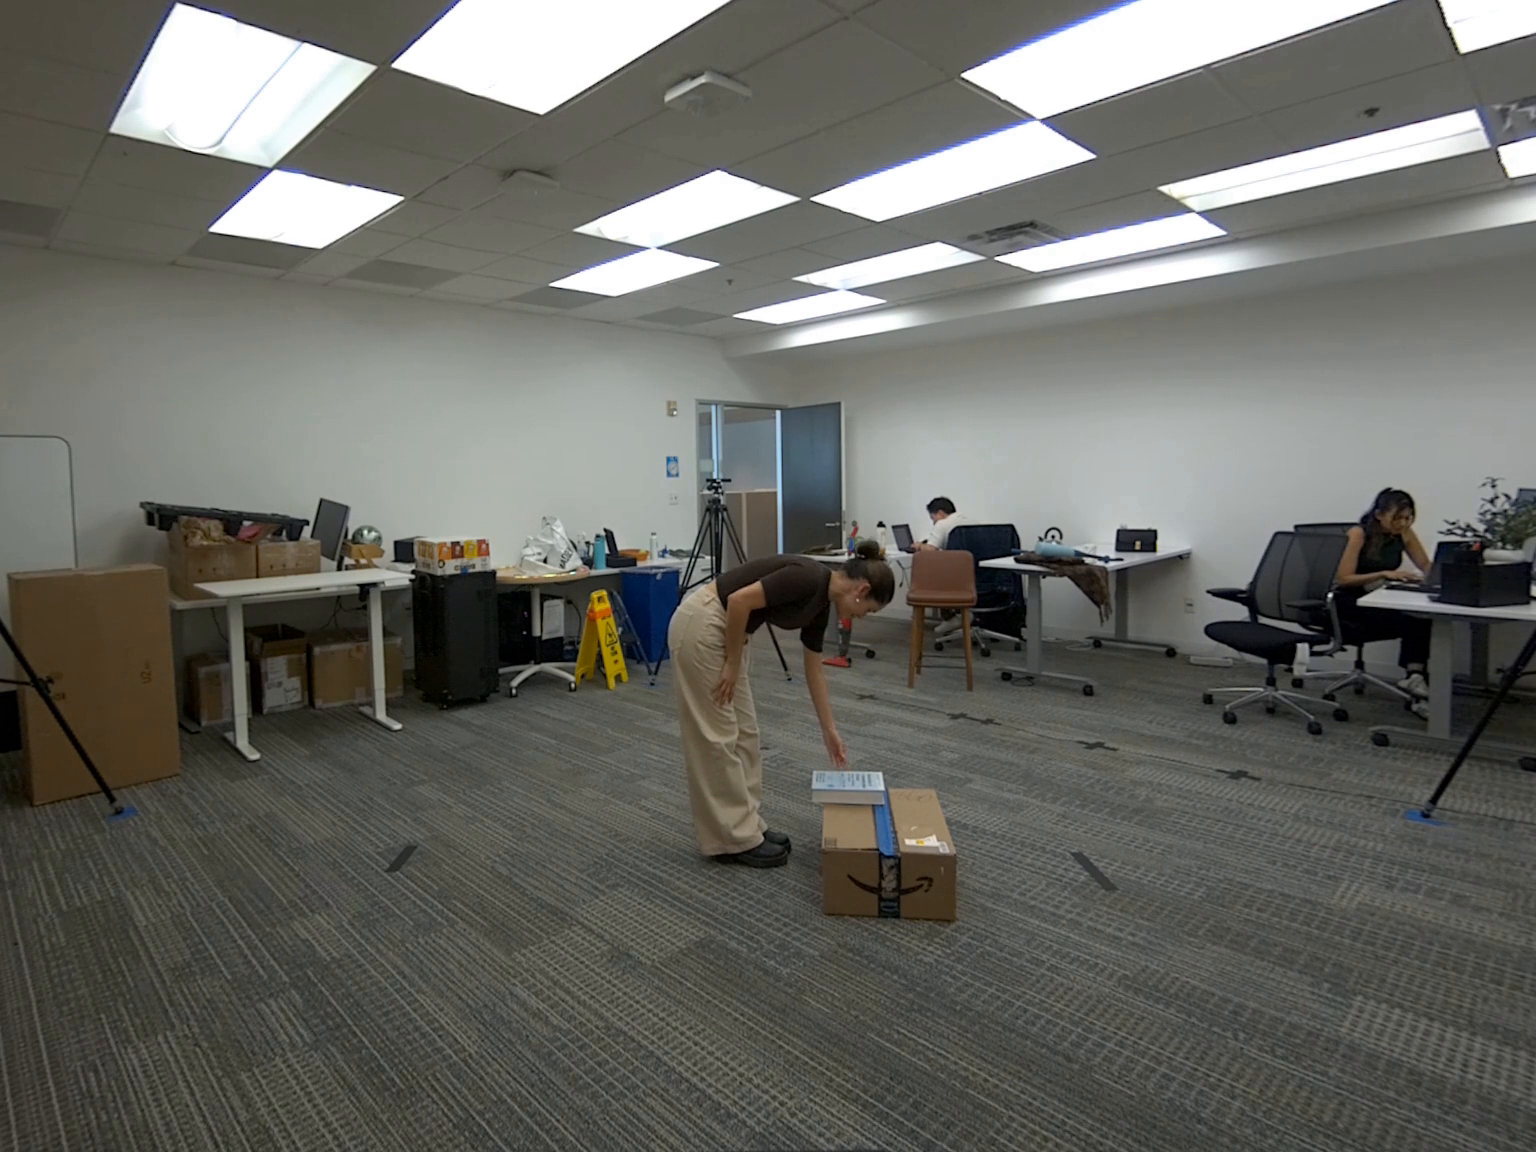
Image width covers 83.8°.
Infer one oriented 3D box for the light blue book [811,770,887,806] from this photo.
[{"bbox_3d":[0.291,0.779,3.171,0.263,0.059,0.191,-1,7,6],"label":"light blue book"}]
